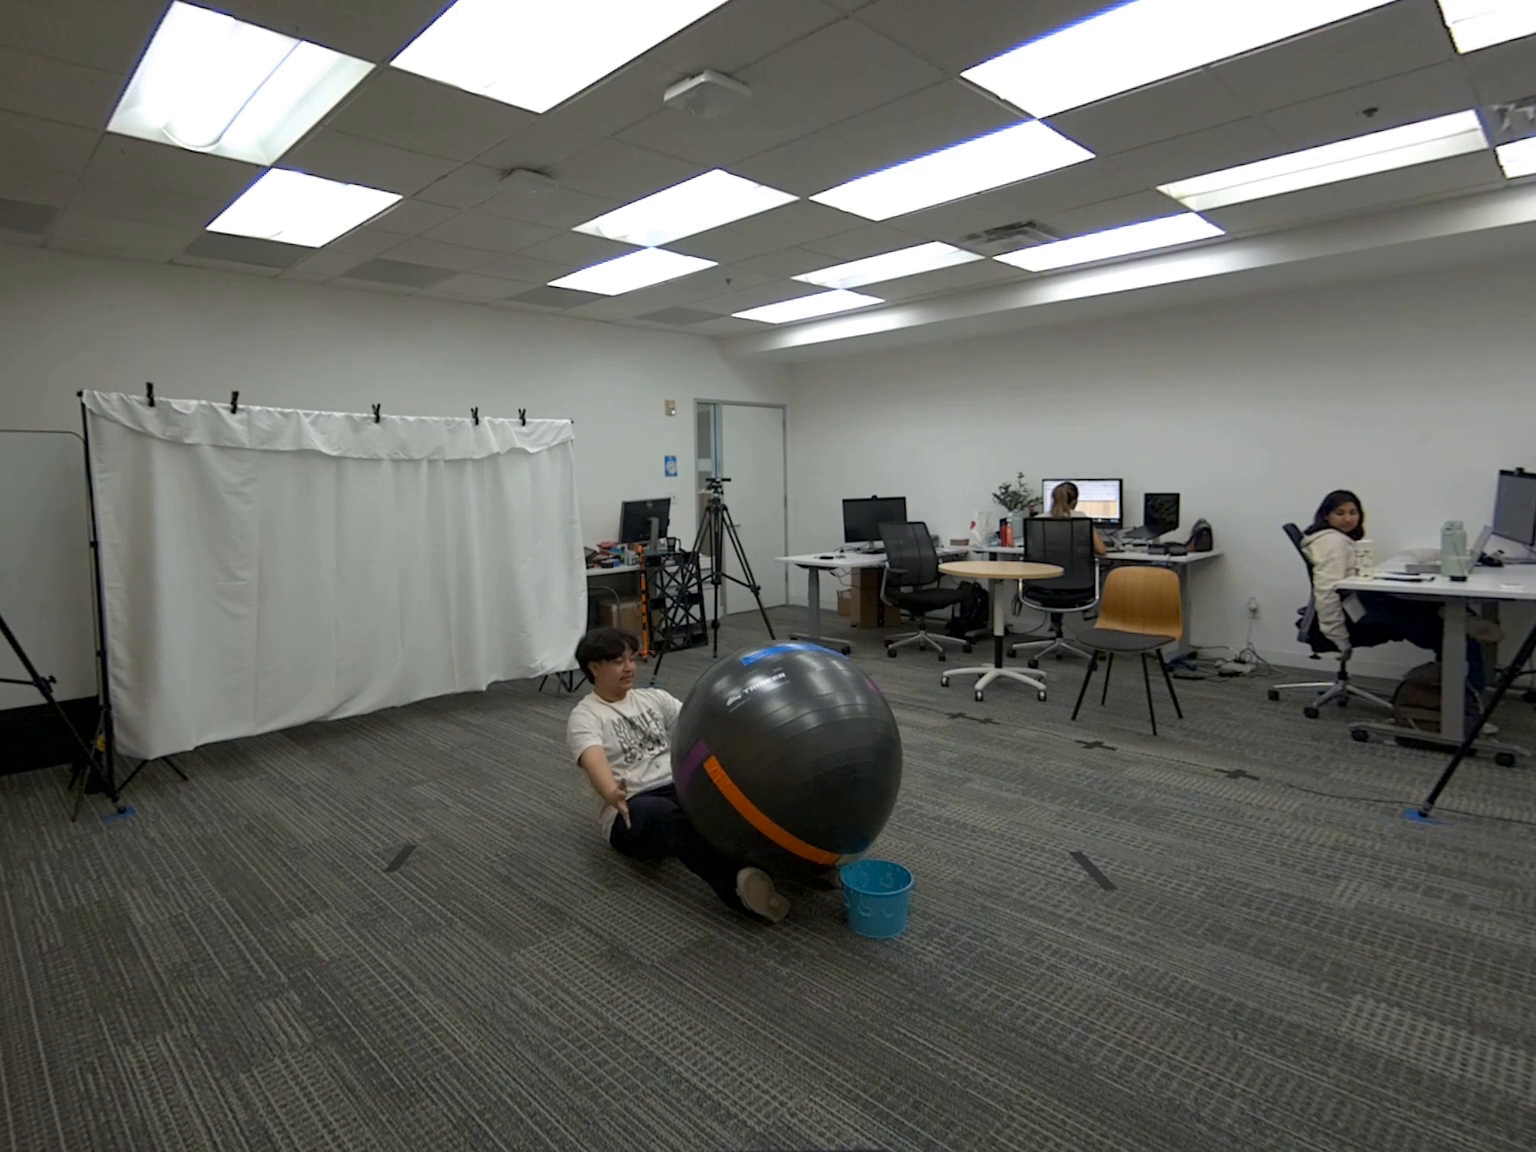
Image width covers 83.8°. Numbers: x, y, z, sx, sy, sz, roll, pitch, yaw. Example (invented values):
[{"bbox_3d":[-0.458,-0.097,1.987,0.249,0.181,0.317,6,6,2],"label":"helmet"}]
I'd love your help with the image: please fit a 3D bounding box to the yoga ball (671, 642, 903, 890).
[{"bbox_3d":[0.061,0.593,2.817,0.757,0.755,0.762,-1,5,-2],"label":"yoga ball"}]
